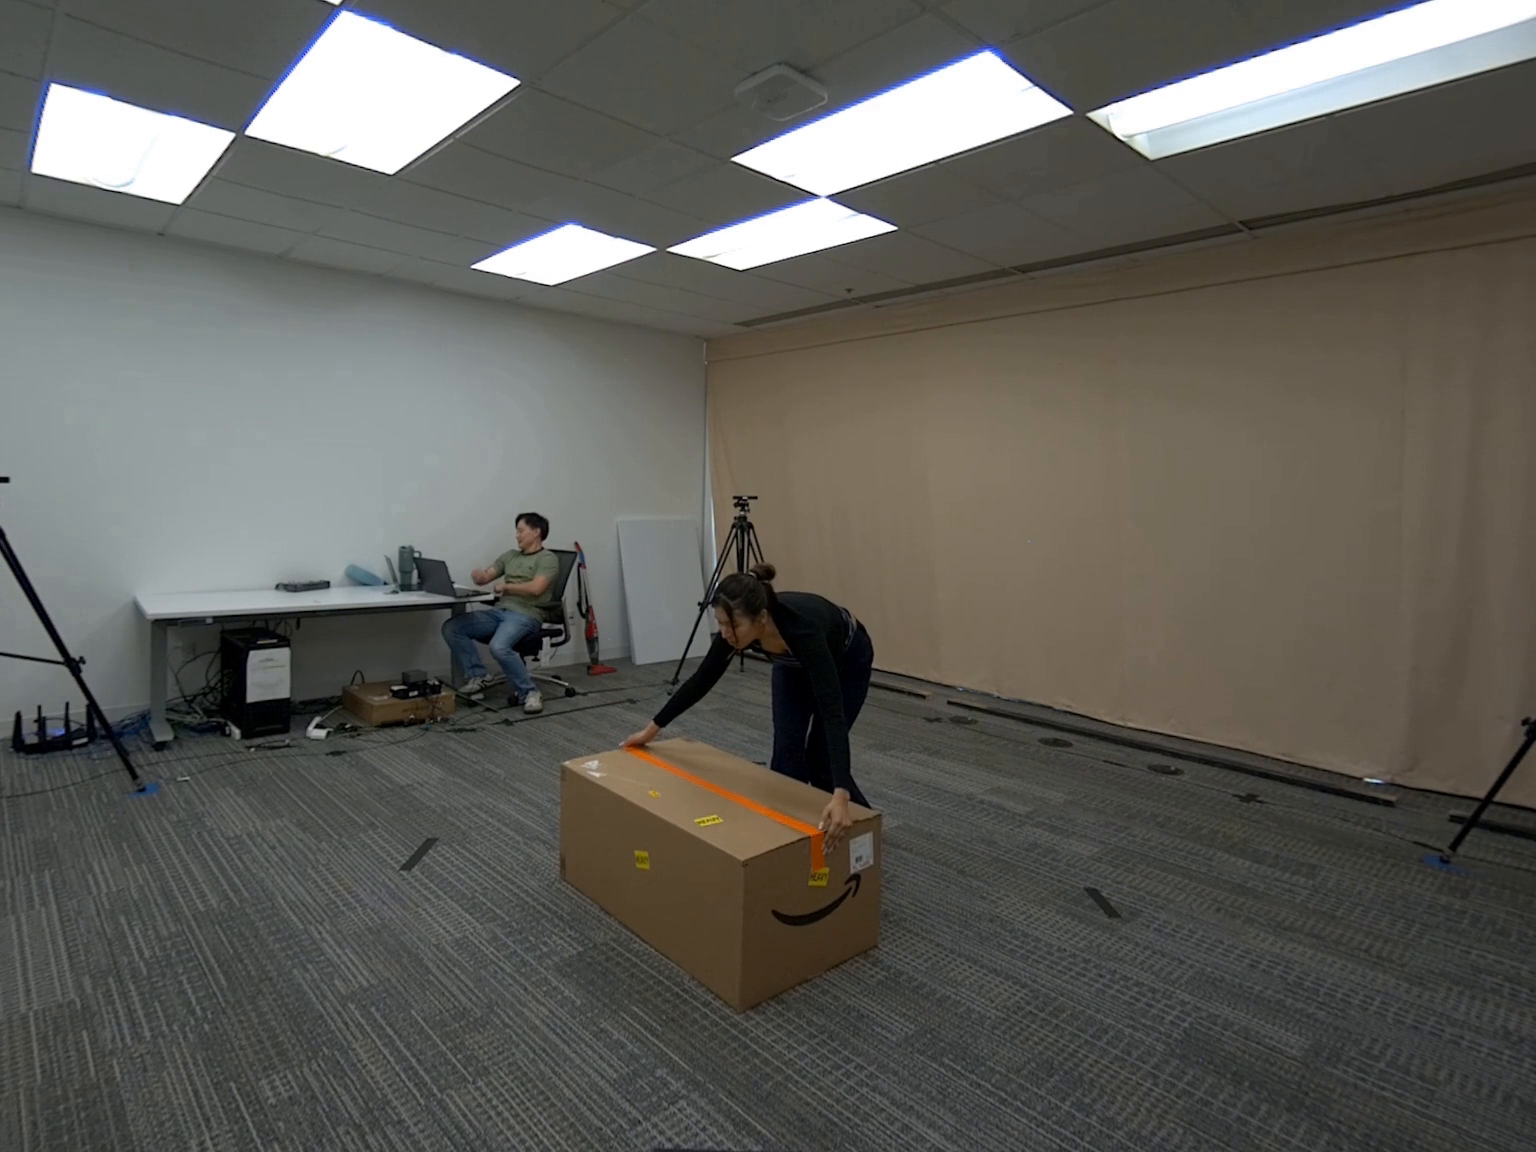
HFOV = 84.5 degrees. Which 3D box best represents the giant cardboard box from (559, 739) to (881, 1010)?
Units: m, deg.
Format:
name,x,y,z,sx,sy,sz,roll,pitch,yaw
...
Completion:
name,x,y,z,sx,sy,sz,roll,pitch,yaw
giant cardboard box,-0.208,0.914,2.822,0.564,0.425,1.052,-2,6,-41
